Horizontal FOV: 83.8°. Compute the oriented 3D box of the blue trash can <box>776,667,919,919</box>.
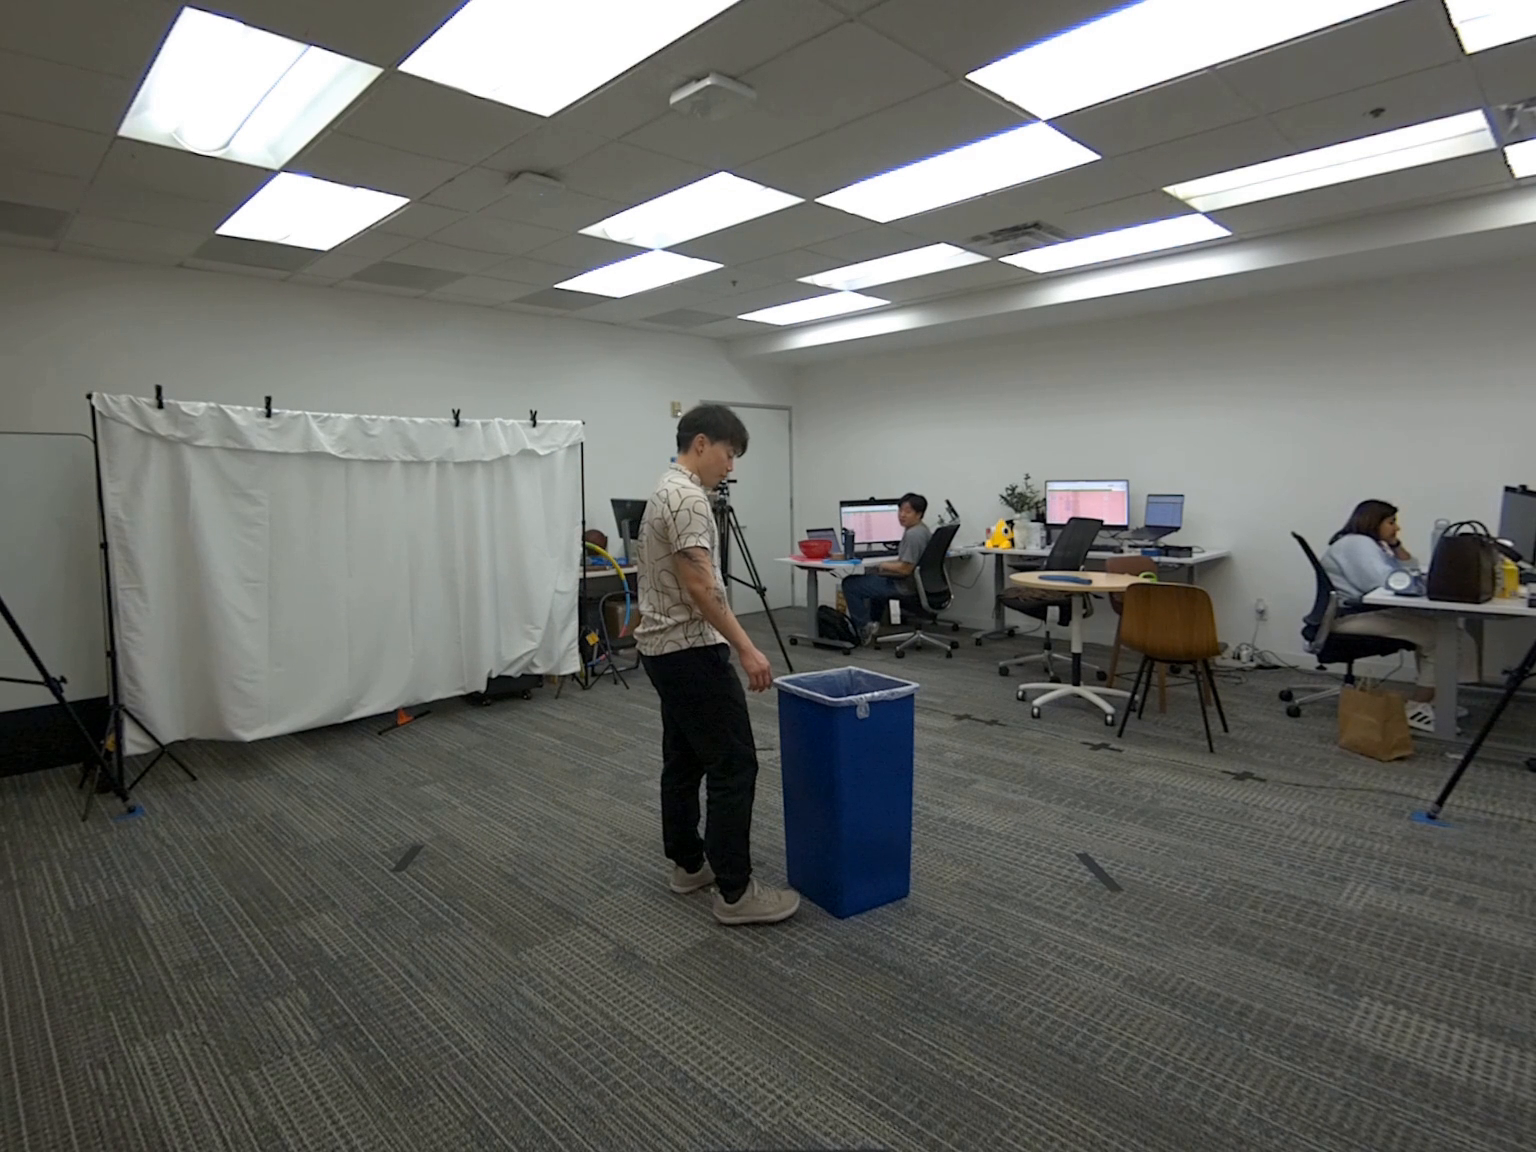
[{"bbox_3d":[0.259,0.707,2.888,0.369,0.711,0.384,-3,4,-32],"label":"blue trash can"}]
